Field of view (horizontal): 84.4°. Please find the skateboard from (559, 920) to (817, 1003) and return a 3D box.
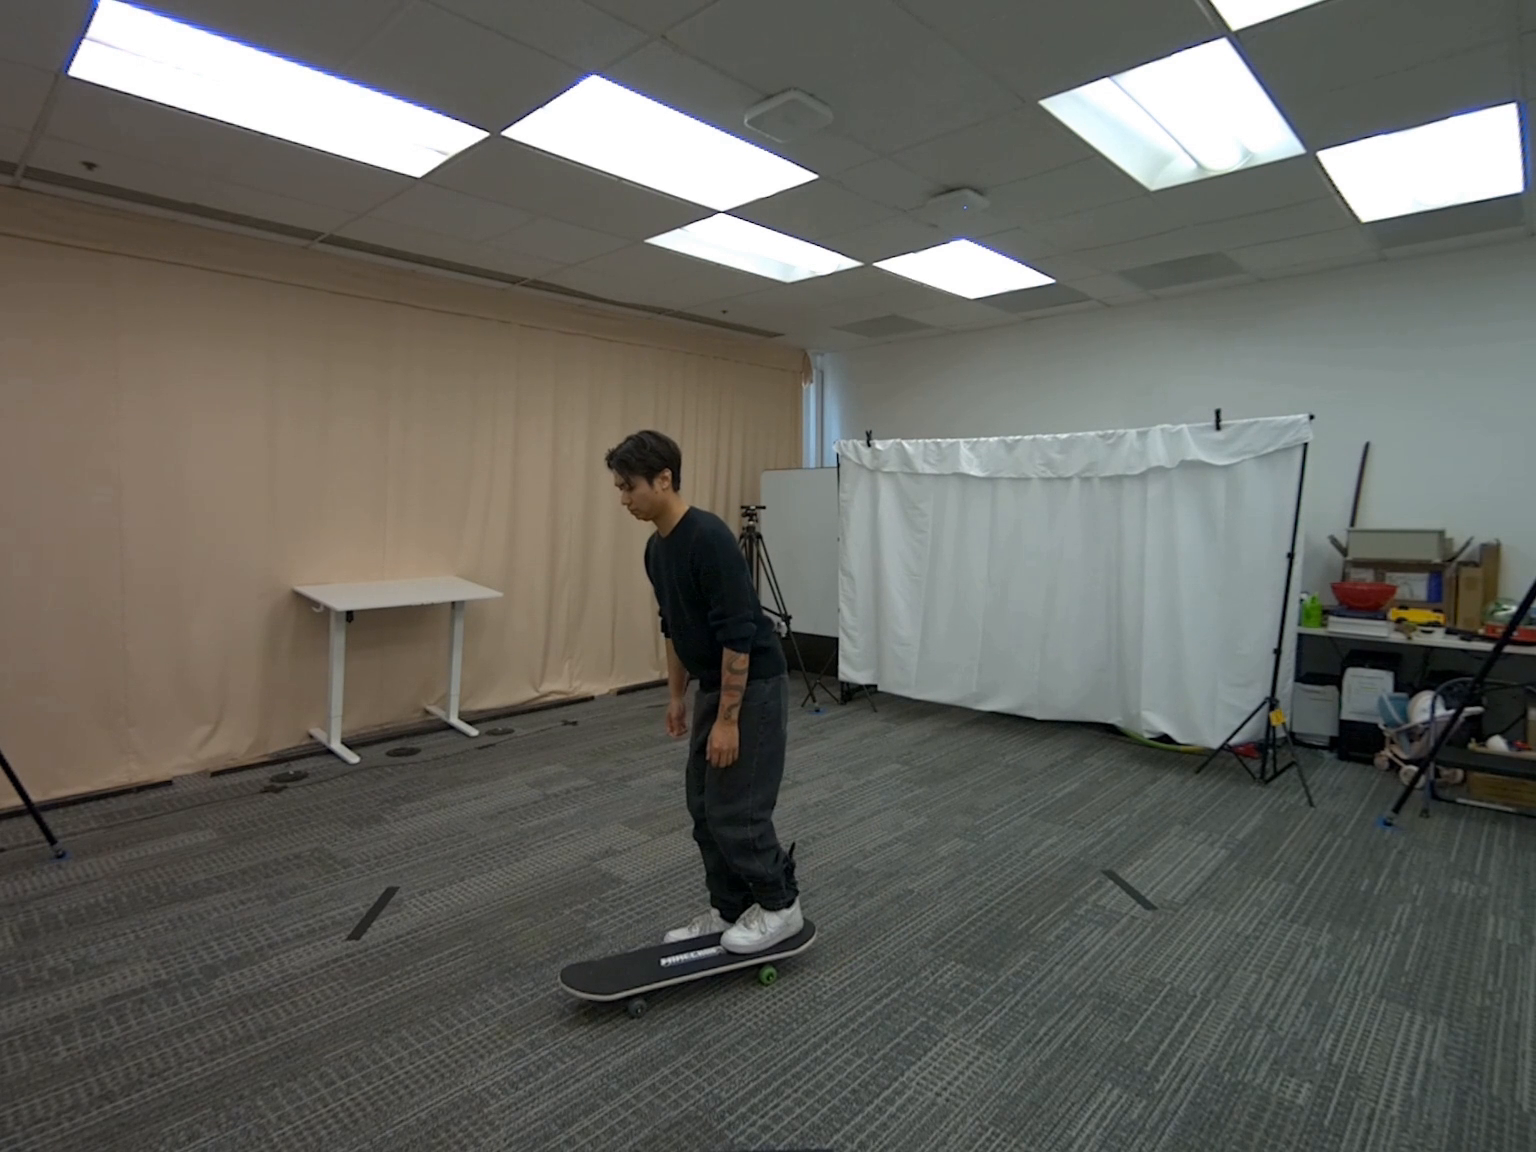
[{"bbox_3d":[-0.209,1.137,2.437,0.769,0.110,0.198,-1,4,-21],"label":"skateboard"}]
